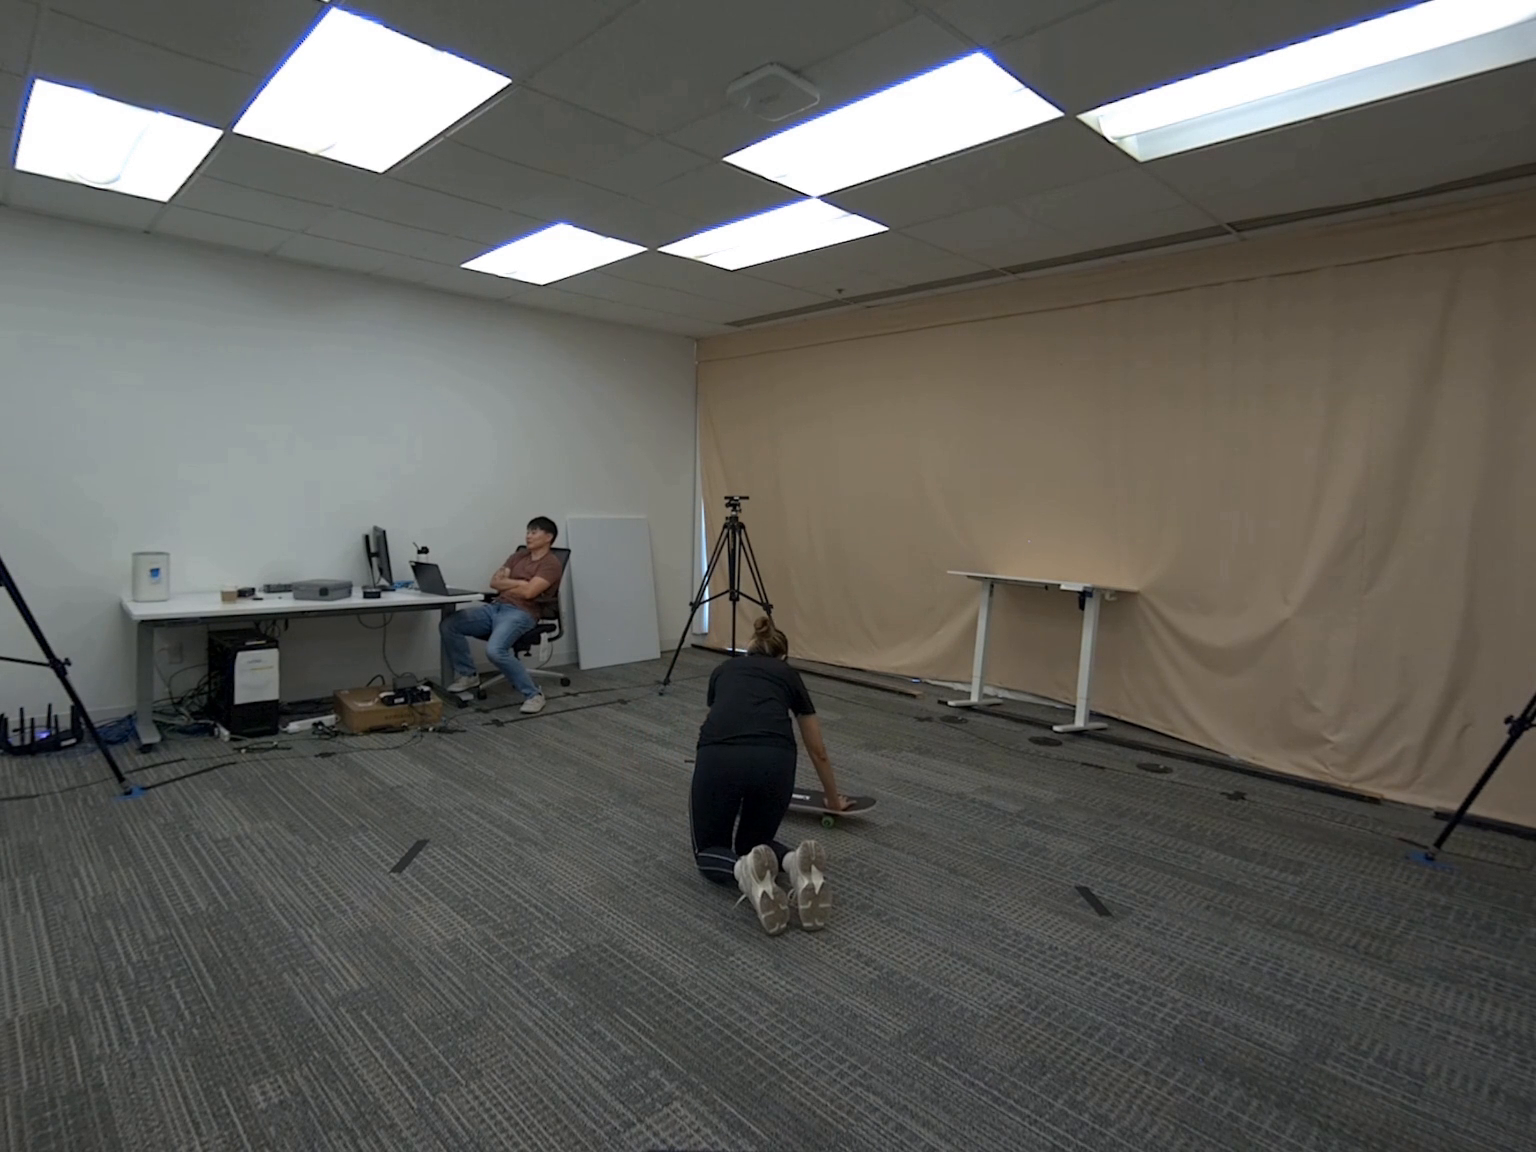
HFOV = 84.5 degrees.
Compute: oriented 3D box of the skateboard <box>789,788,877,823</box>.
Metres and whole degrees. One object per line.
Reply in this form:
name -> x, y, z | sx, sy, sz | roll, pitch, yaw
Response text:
skateboard -> 0.074, 0.997, 3.714 | 0.797, 0.110, 0.191 | 3, 6, 18
